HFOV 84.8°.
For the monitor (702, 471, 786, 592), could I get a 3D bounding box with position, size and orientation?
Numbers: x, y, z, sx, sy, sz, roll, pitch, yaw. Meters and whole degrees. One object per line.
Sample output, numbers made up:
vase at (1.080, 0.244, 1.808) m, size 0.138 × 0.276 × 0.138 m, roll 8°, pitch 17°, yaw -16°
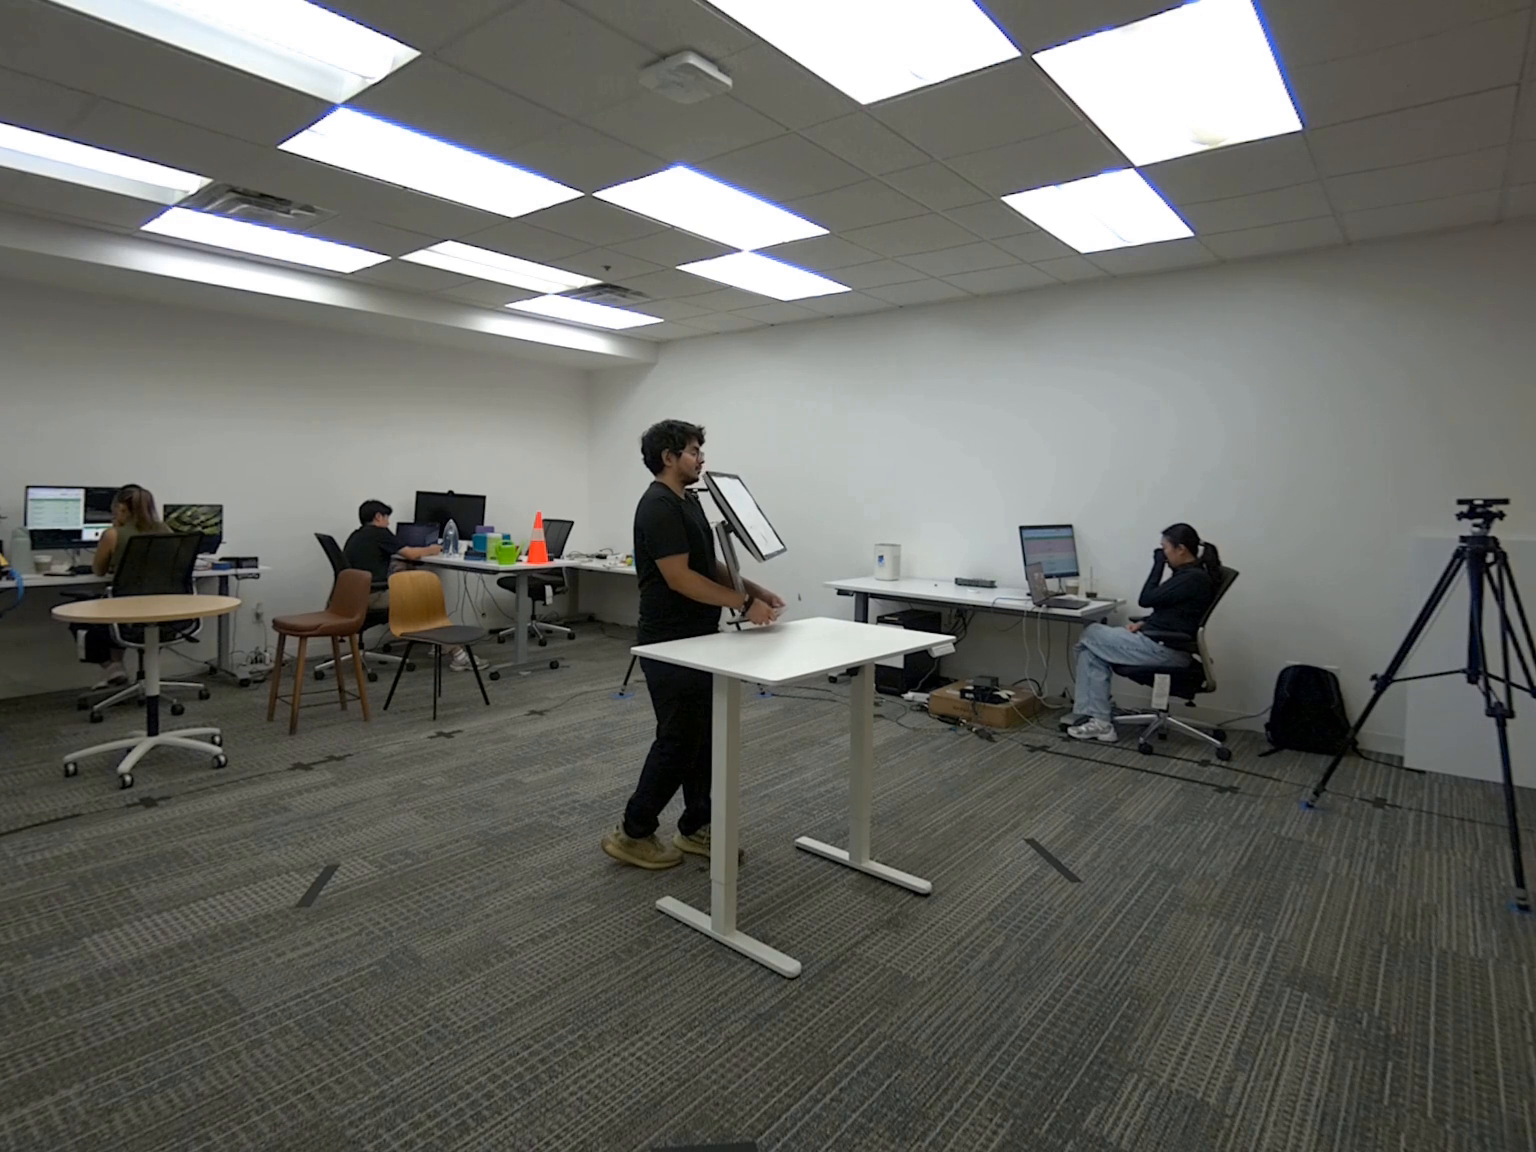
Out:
monitor at (-0.117, -0.112, 3.134) m, size 0.211 × 0.556 × 0.560 m, roll -25°, pitch -1°, yaw 12°
